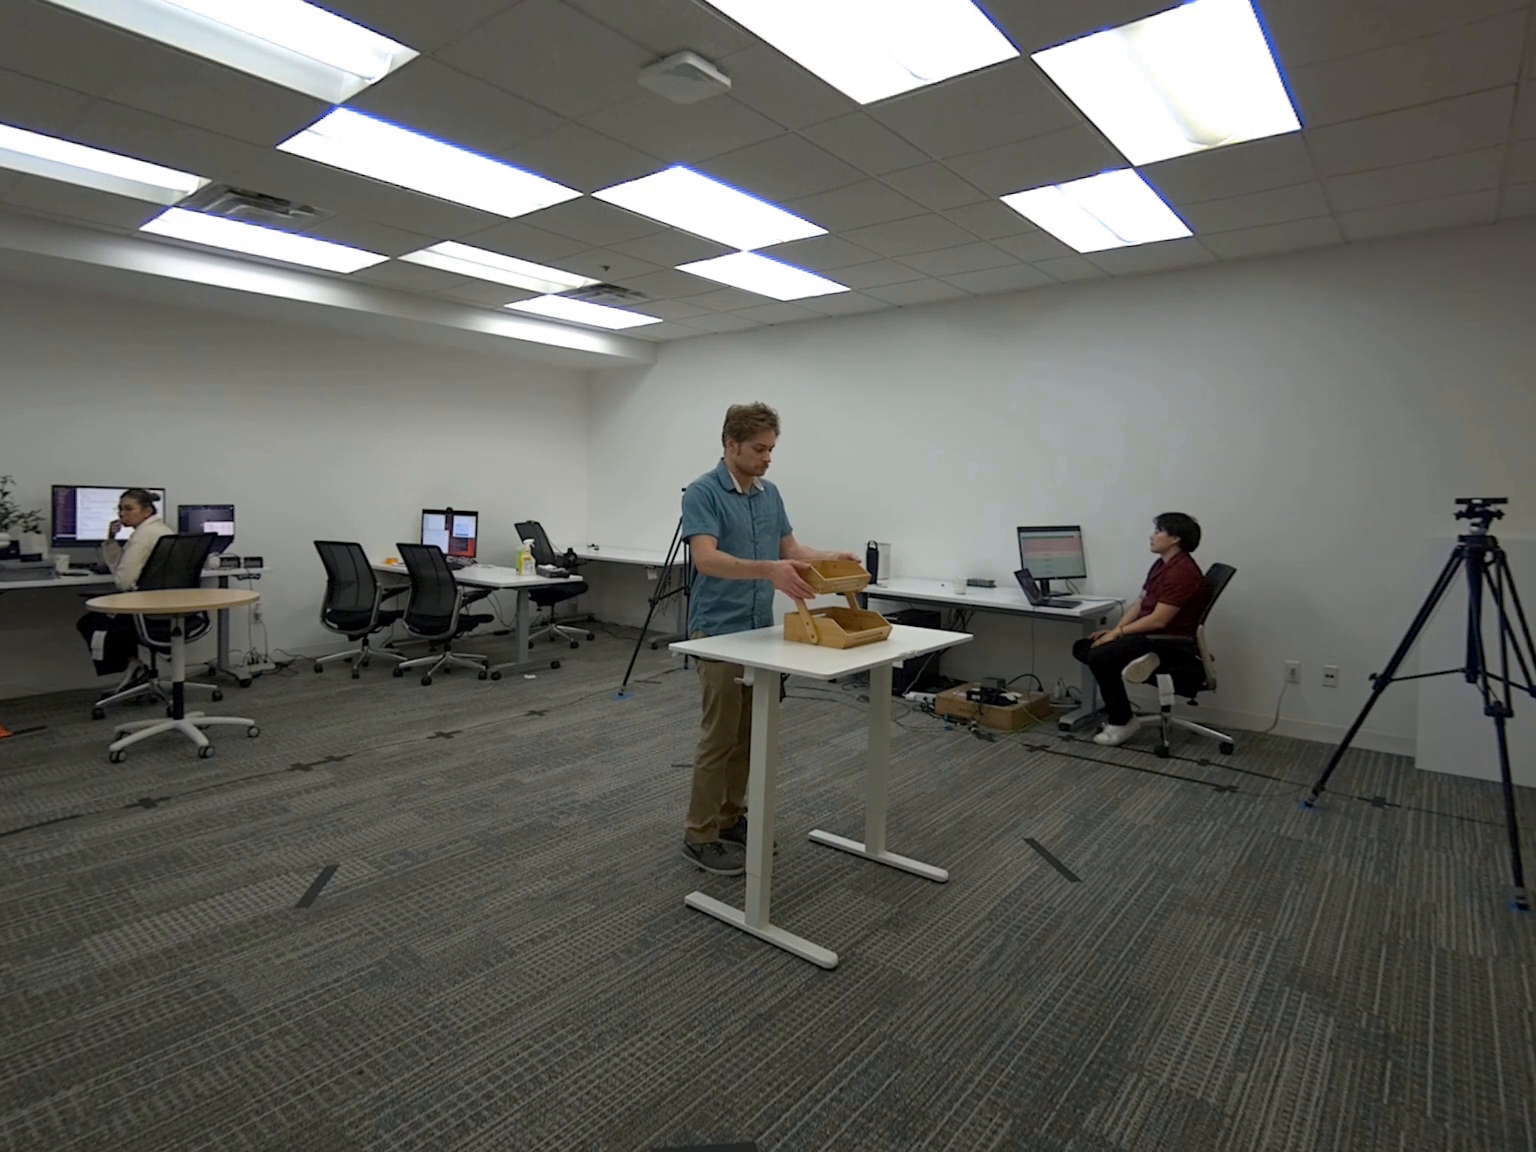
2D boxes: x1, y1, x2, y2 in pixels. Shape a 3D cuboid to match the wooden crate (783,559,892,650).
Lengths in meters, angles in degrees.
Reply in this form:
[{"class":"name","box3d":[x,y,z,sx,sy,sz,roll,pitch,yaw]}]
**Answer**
[{"class":"wooden crate","box3d":[0.220,0.083,2.924,0.312,0.273,0.315,4,4,39]}]
